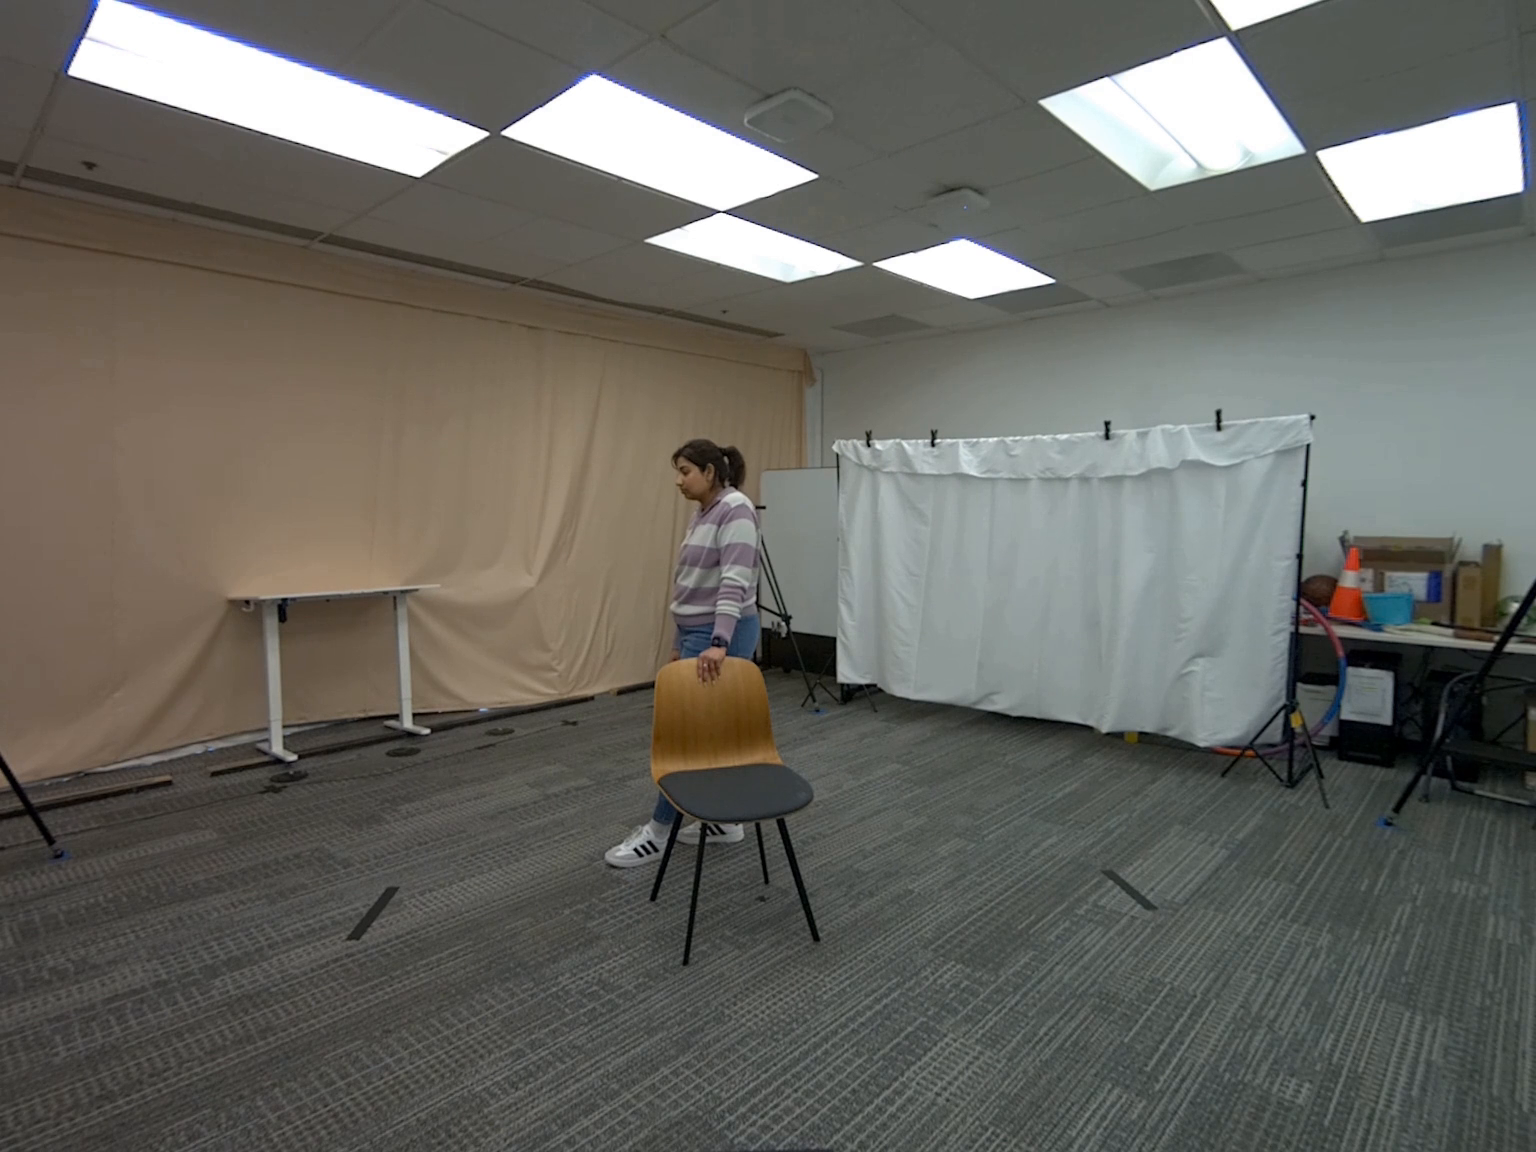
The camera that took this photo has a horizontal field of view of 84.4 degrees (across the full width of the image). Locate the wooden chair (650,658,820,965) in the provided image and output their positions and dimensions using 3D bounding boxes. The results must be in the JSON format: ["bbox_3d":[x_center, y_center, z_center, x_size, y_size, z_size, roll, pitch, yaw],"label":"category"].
[{"bbox_3d":[-0.118,0.731,2.792,0.469,0.878,0.533,-1,-1,-20],"label":"wooden chair"}]
